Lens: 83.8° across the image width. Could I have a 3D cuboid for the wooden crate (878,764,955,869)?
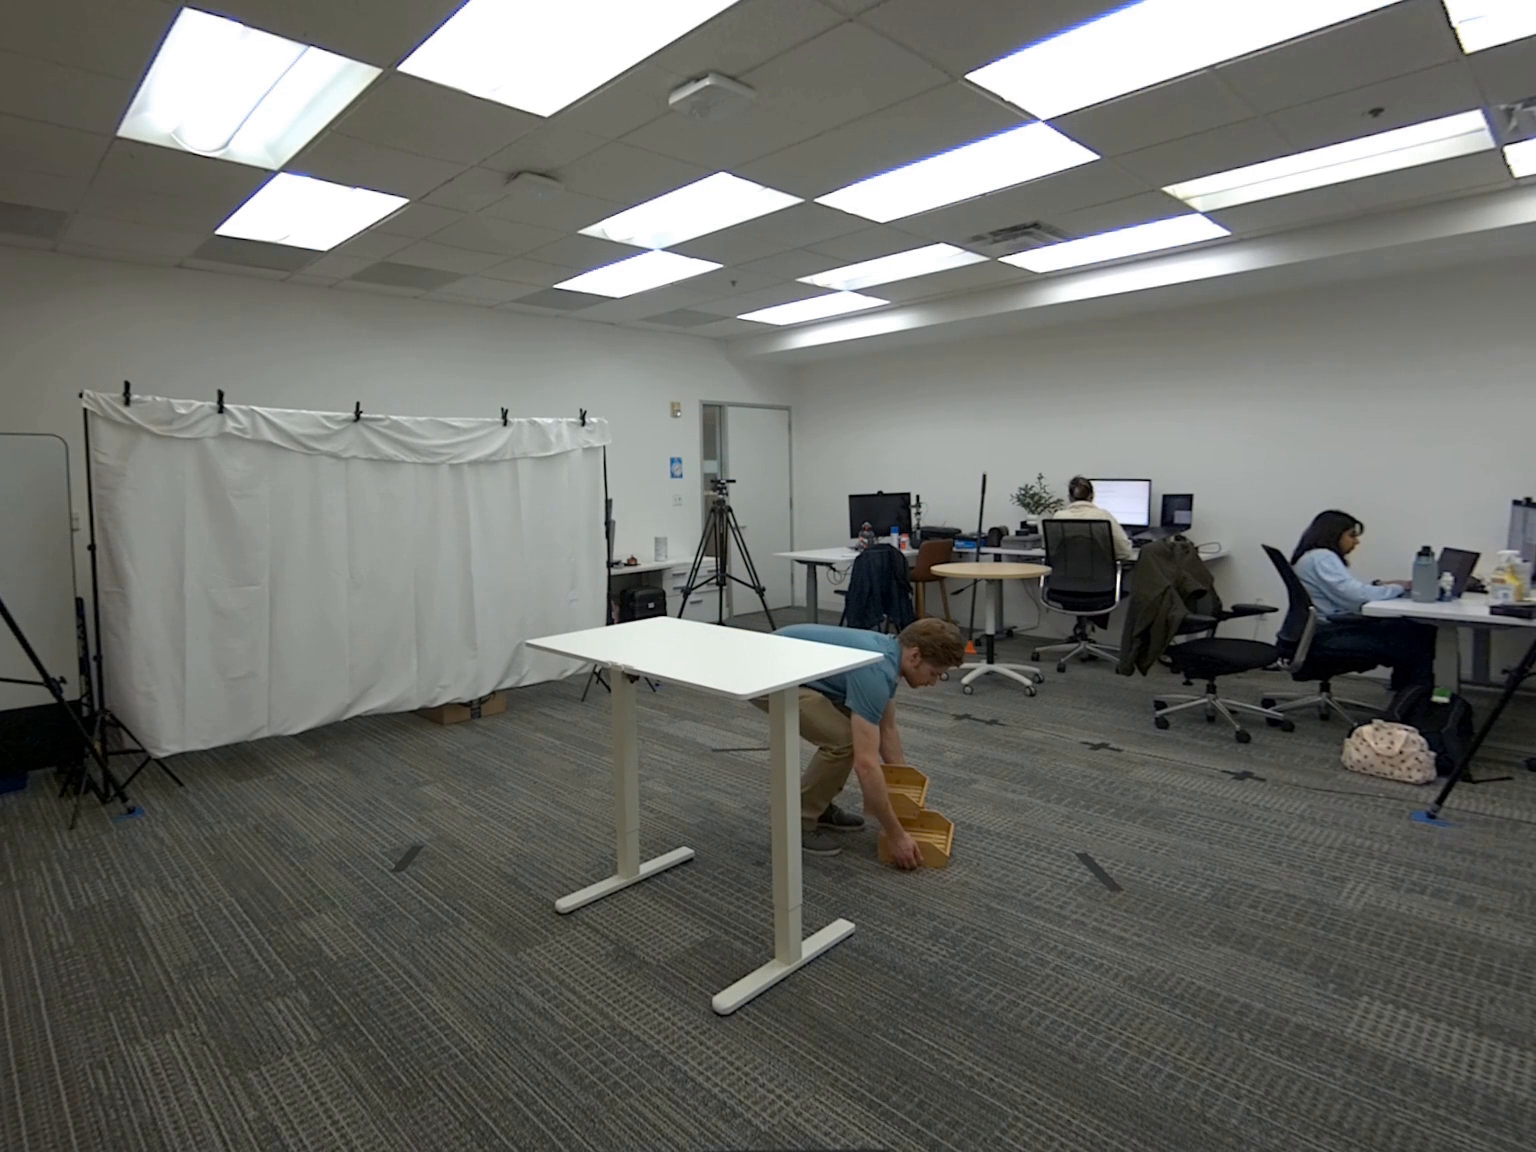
[{"bbox_3d":[0.537,0.890,3.217,0.307,0.273,0.320,-1,4,18],"label":"wooden crate"}]
